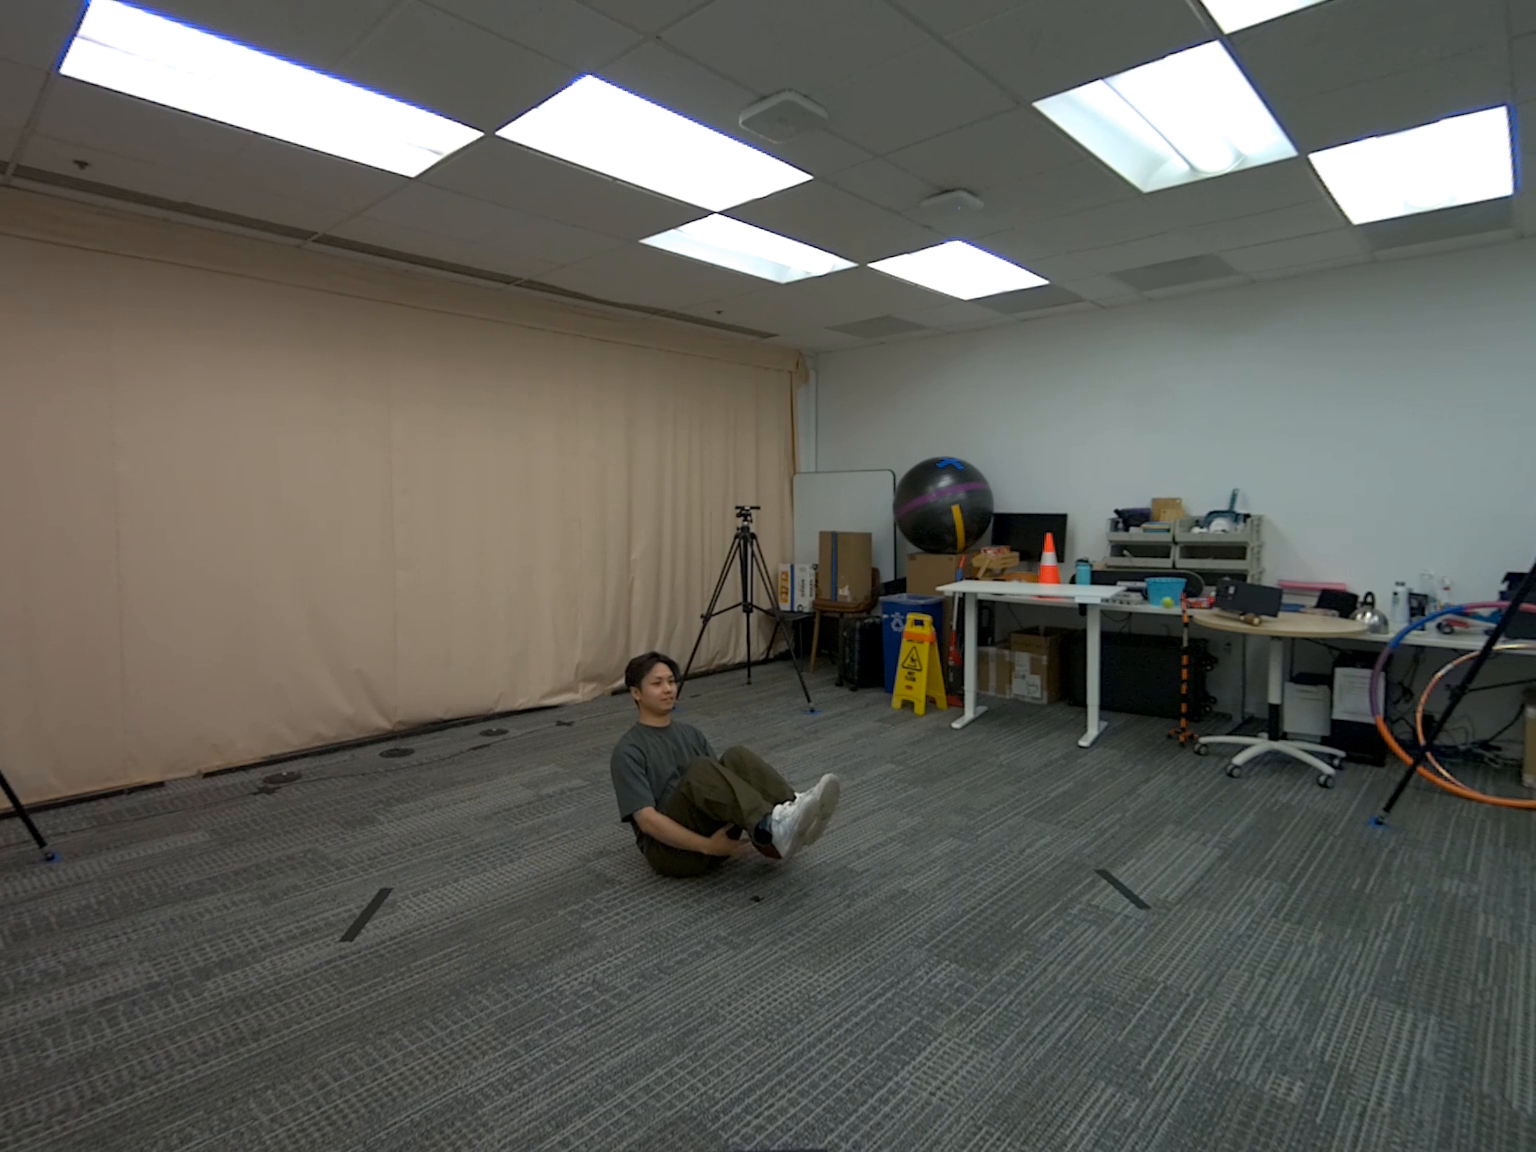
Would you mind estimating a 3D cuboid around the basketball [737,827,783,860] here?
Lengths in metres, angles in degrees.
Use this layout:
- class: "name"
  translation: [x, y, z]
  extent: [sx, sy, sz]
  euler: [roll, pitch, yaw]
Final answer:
- class: "basketball"
  translation: [0.037, 0.944, 3.177]
  extent: [0.236, 0.235, 0.237]
  euler: [0, 4, -2]
